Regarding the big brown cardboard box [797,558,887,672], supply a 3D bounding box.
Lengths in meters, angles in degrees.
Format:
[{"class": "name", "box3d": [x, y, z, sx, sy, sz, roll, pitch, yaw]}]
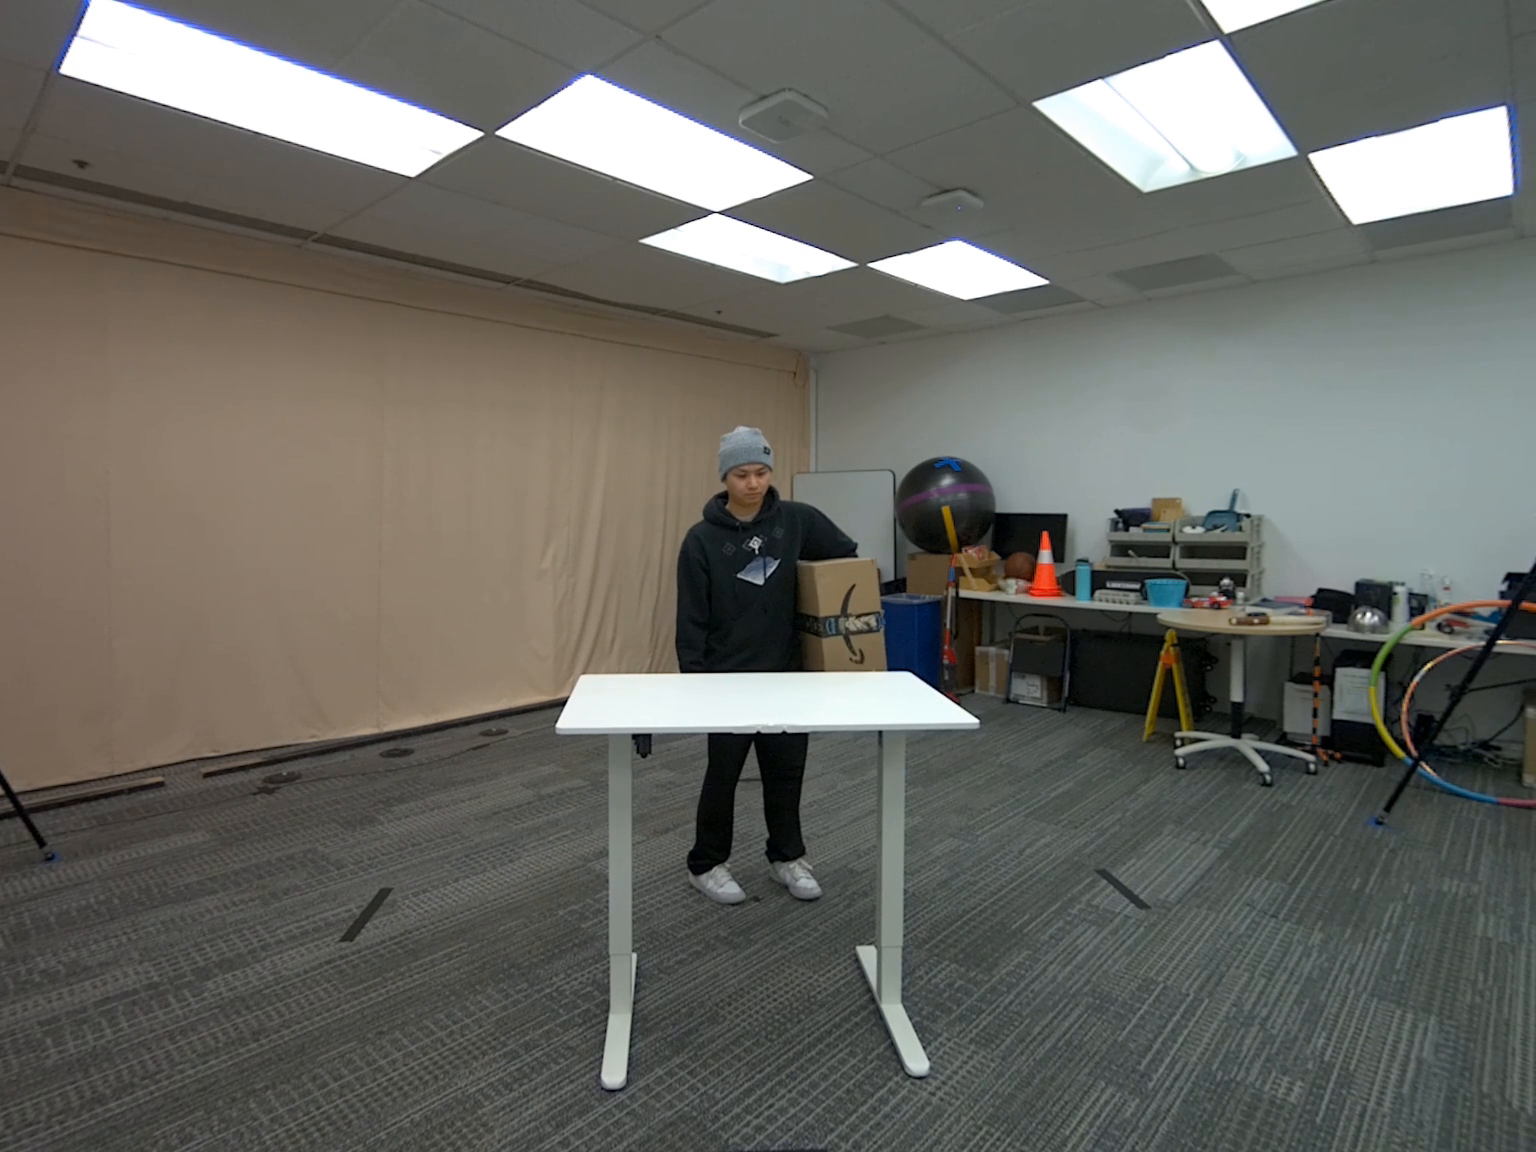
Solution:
[{"class": "big brown cardboard box", "box3d": [0.213, 0.152, 3.044, 0.231, 0.417, 0.595, -5, 2, -11]}]
